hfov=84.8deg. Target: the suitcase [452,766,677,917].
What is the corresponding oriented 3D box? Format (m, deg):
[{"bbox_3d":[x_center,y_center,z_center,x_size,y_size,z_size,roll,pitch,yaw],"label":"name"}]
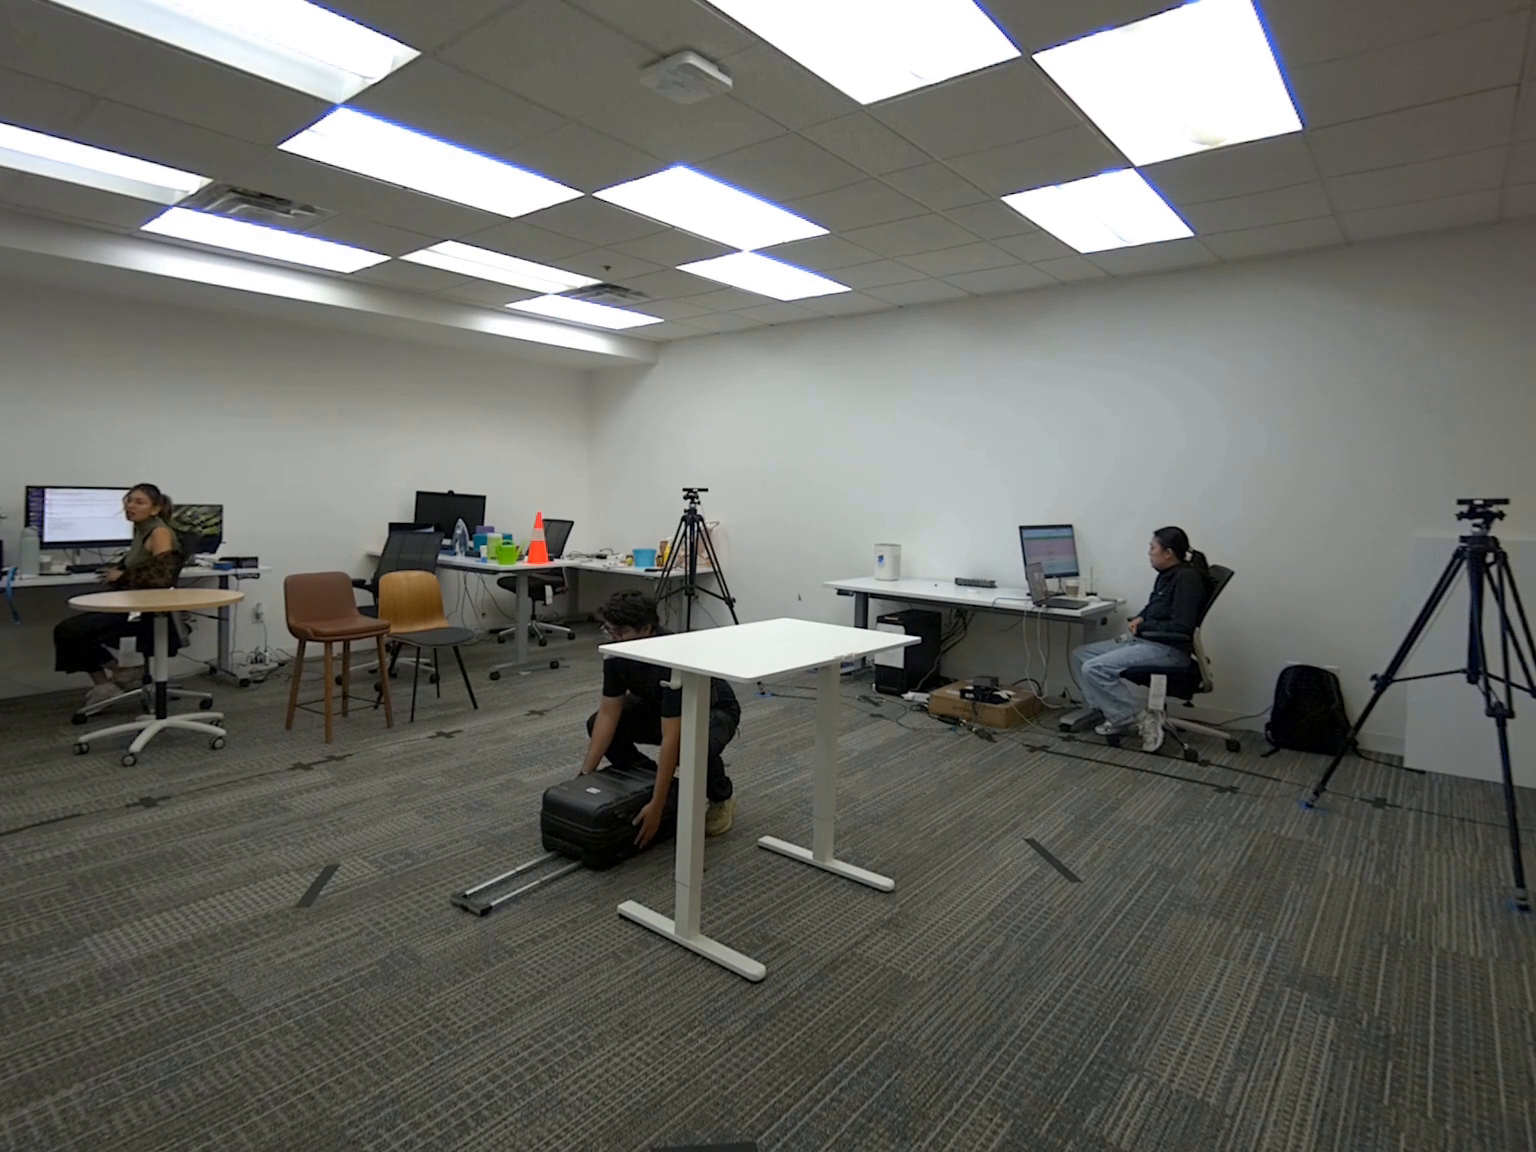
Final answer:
[{"bbox_3d":[-0.738,0.933,3.162,0.396,0.256,0.950,5,5,34],"label":"suitcase"}]
